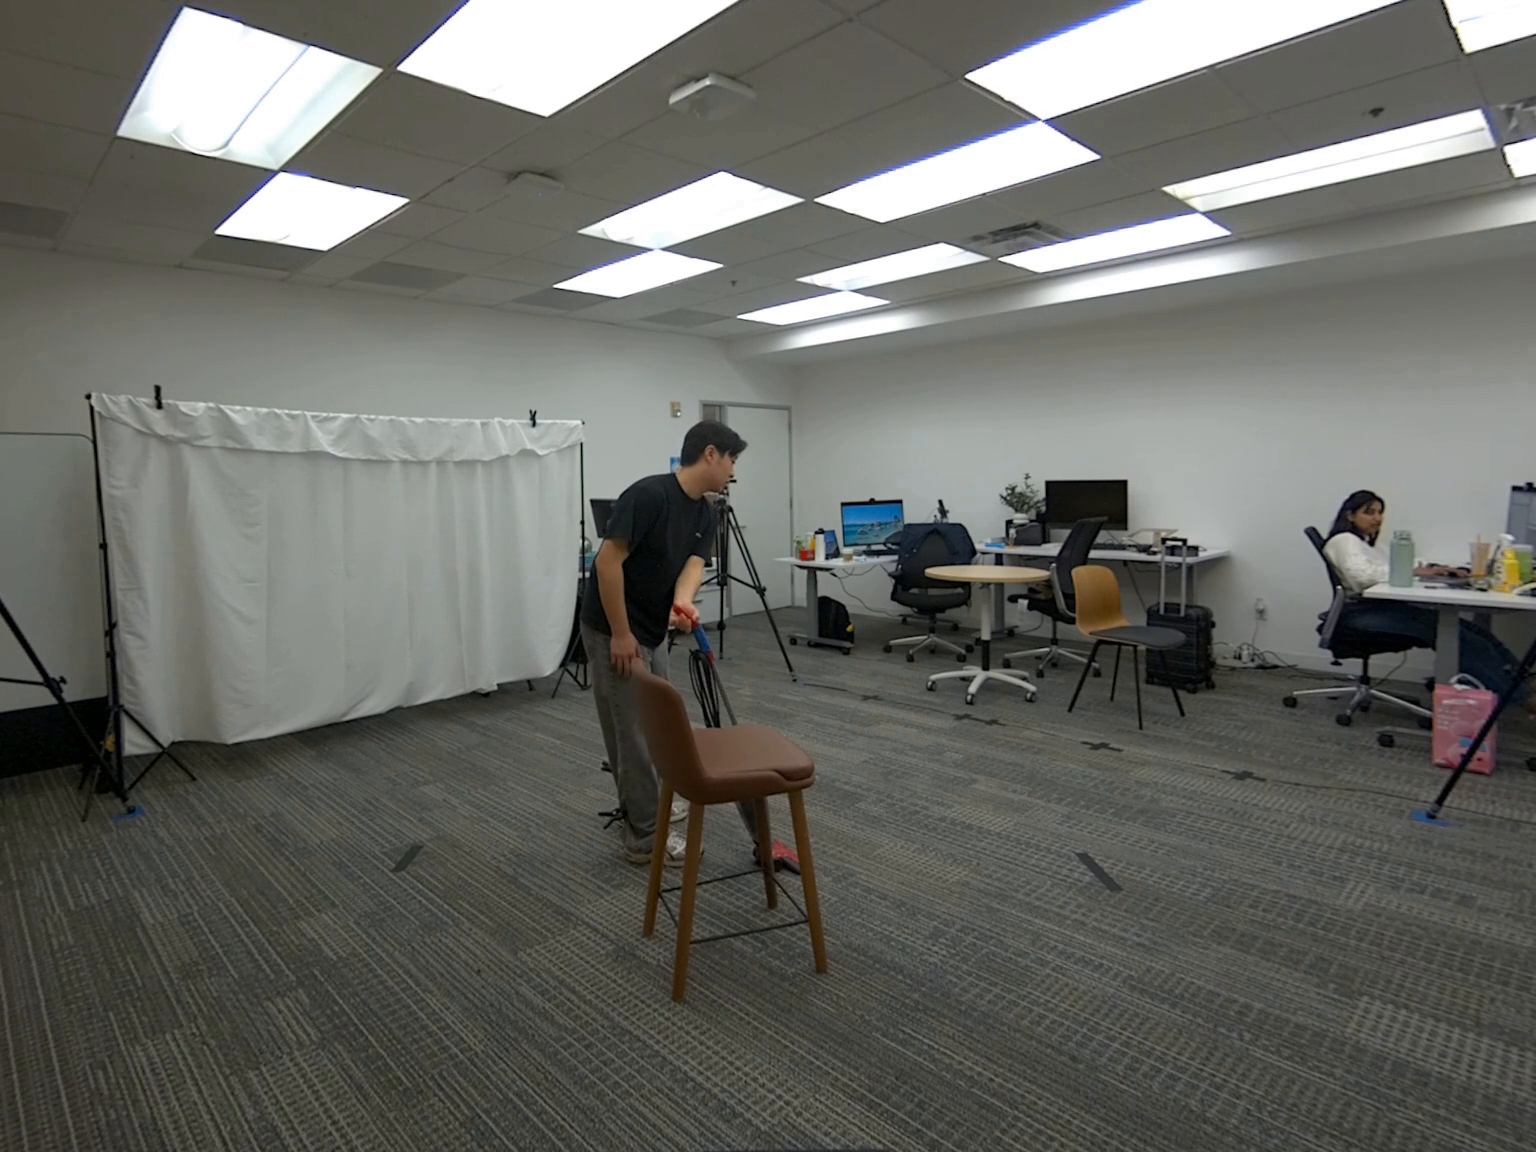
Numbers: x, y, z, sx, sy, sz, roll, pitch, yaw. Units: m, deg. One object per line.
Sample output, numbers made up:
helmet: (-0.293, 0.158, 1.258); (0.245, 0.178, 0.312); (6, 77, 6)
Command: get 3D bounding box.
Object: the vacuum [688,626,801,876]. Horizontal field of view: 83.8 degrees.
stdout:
vacuum: (-0.131, 0.574, 2.976); (0.142, 1.030, 0.260); (-27, 18, -24)
